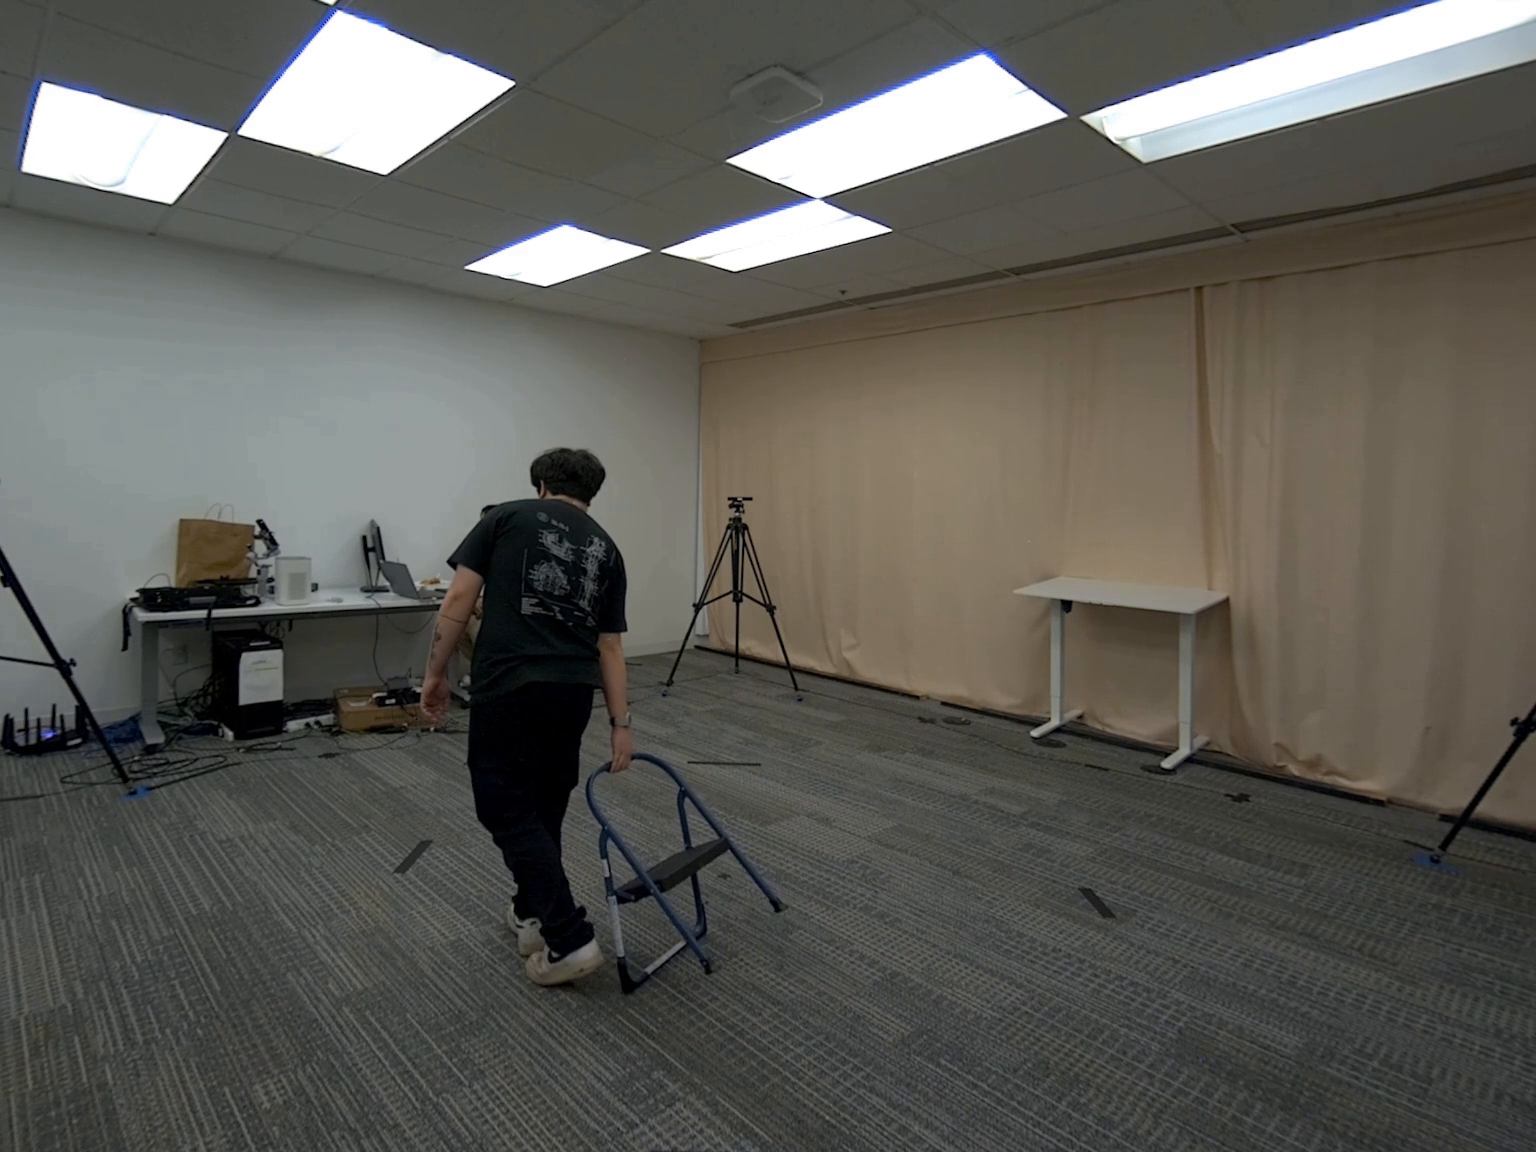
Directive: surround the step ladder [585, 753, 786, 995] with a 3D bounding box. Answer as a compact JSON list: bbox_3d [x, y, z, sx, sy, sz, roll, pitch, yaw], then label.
[{"bbox_3d":[-0.295,0.822,2.500,0.352,0.613,0.422,-29,-12,27],"label":"step ladder"}]
